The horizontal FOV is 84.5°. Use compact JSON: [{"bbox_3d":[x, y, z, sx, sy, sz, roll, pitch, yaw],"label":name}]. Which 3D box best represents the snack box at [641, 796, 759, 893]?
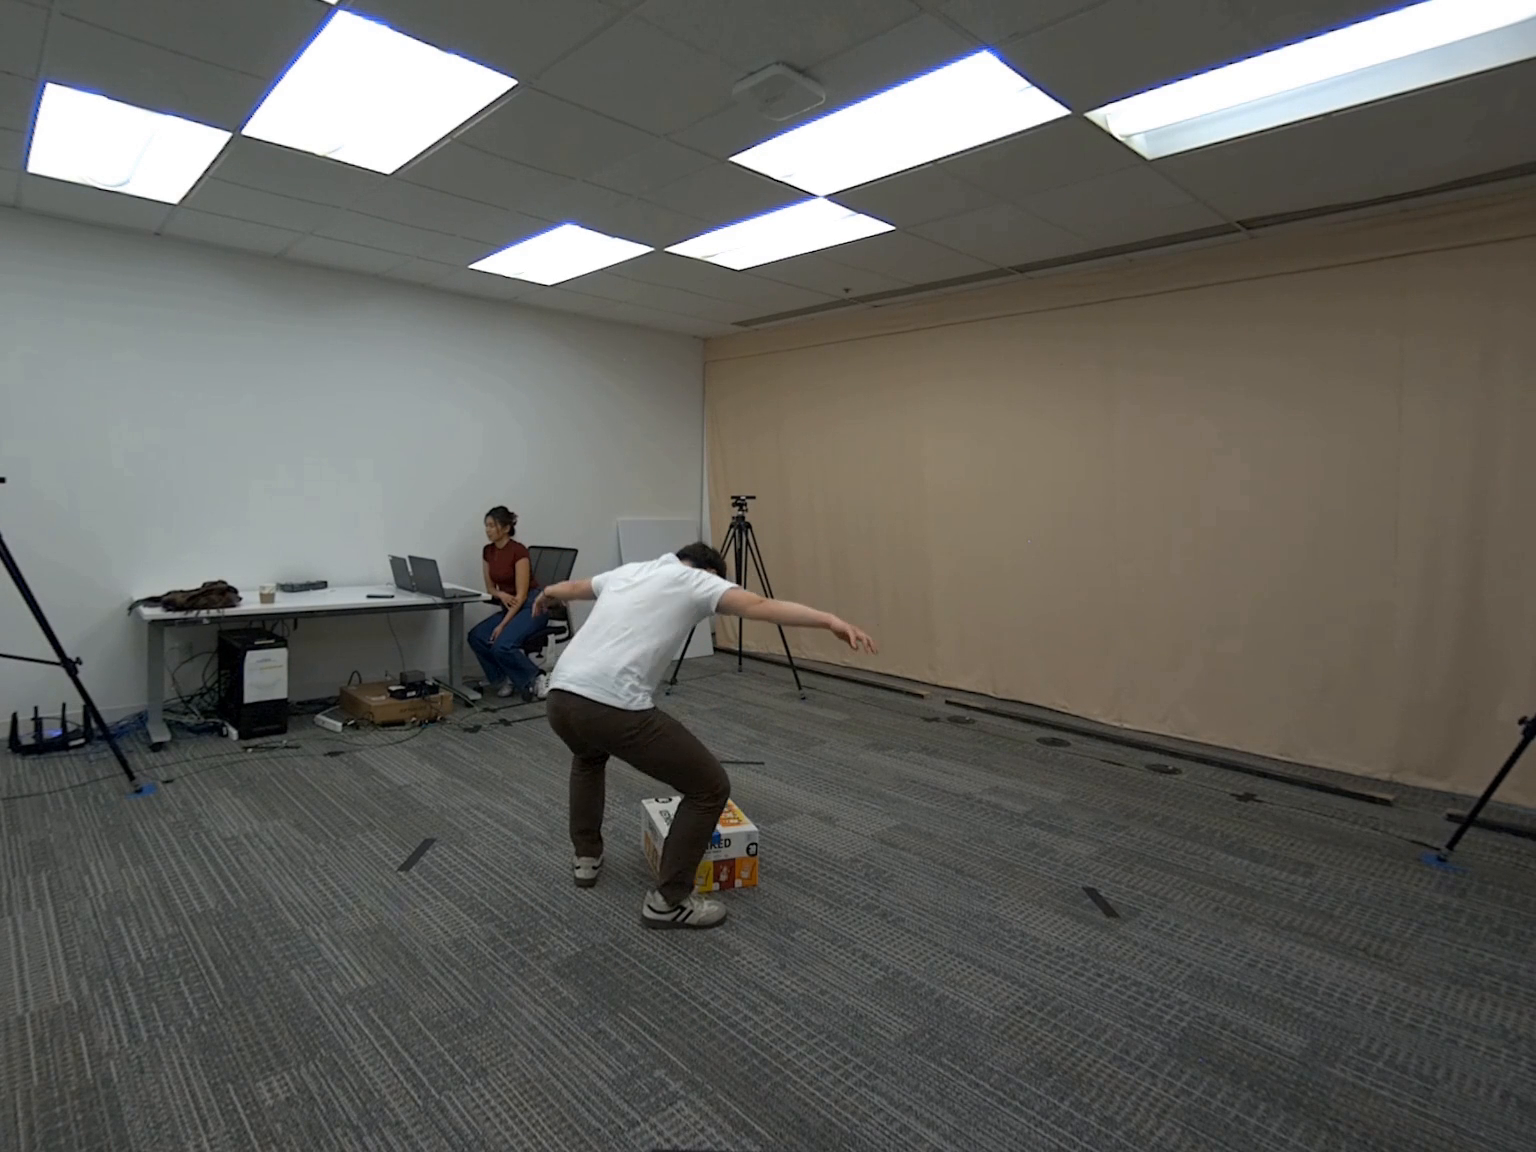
[{"bbox_3d":[-0.273,0.994,3.152,0.335,0.205,0.412,-1,6,-20],"label":"snack box"}]
